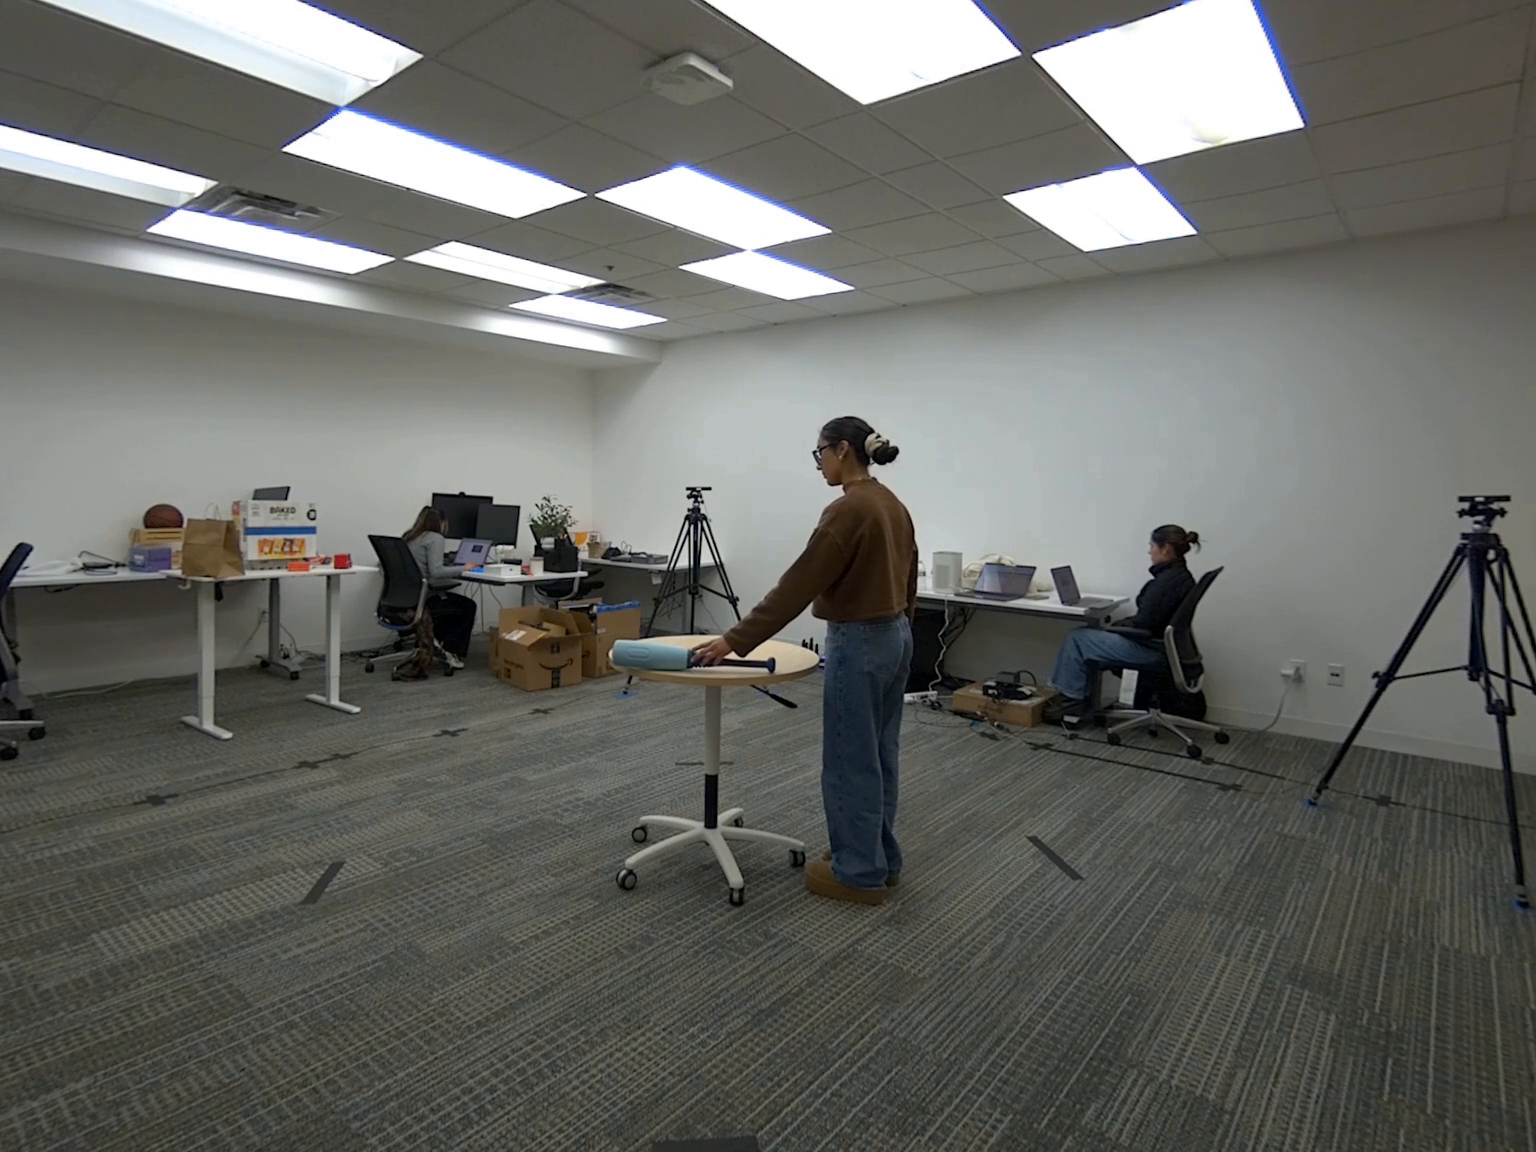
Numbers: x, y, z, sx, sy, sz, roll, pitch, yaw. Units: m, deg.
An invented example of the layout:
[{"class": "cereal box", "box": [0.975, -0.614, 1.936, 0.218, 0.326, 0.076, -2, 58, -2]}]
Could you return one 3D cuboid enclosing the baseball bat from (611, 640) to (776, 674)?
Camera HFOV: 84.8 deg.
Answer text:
[{"class": "baseball bat", "box": [-0.254, 0.281, 2.821, 0.545, 0.089, 0.089, 5, 4, 3]}]
